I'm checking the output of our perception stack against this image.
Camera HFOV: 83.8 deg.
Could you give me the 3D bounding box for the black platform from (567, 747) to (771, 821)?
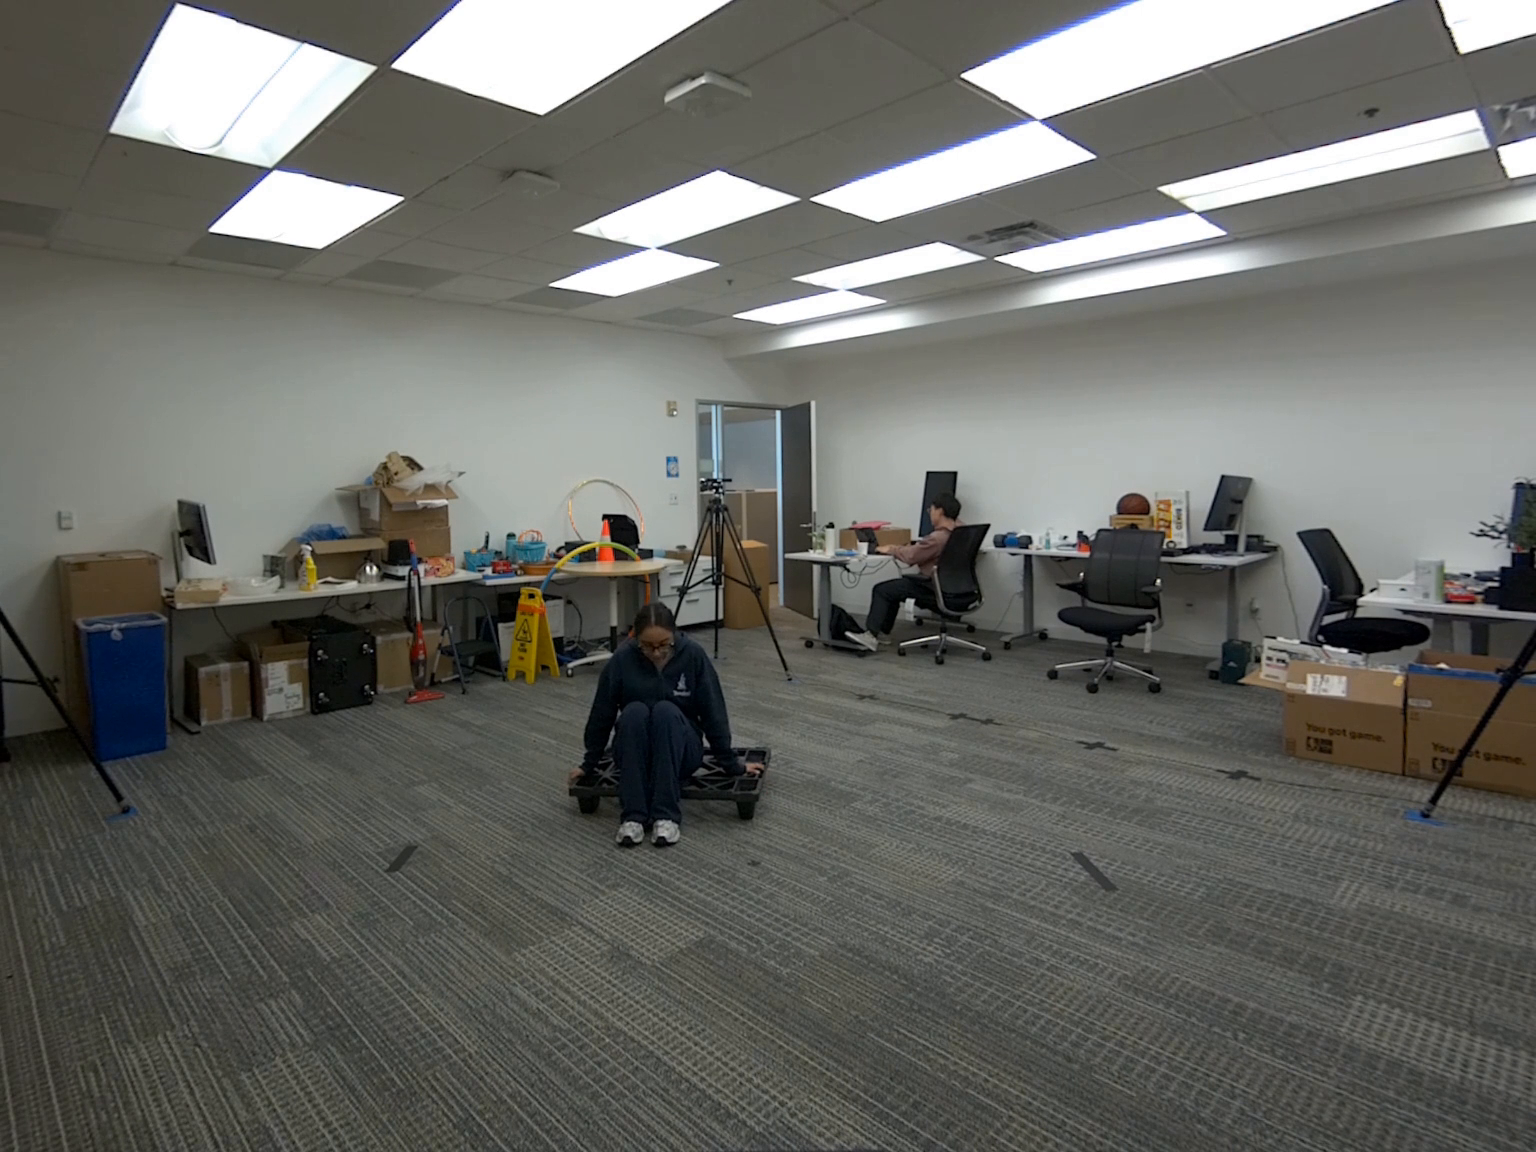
[{"bbox_3d":[-0.405,0.905,3.789,0.812,0.143,0.603,0,6,7],"label":"black platform"}]
